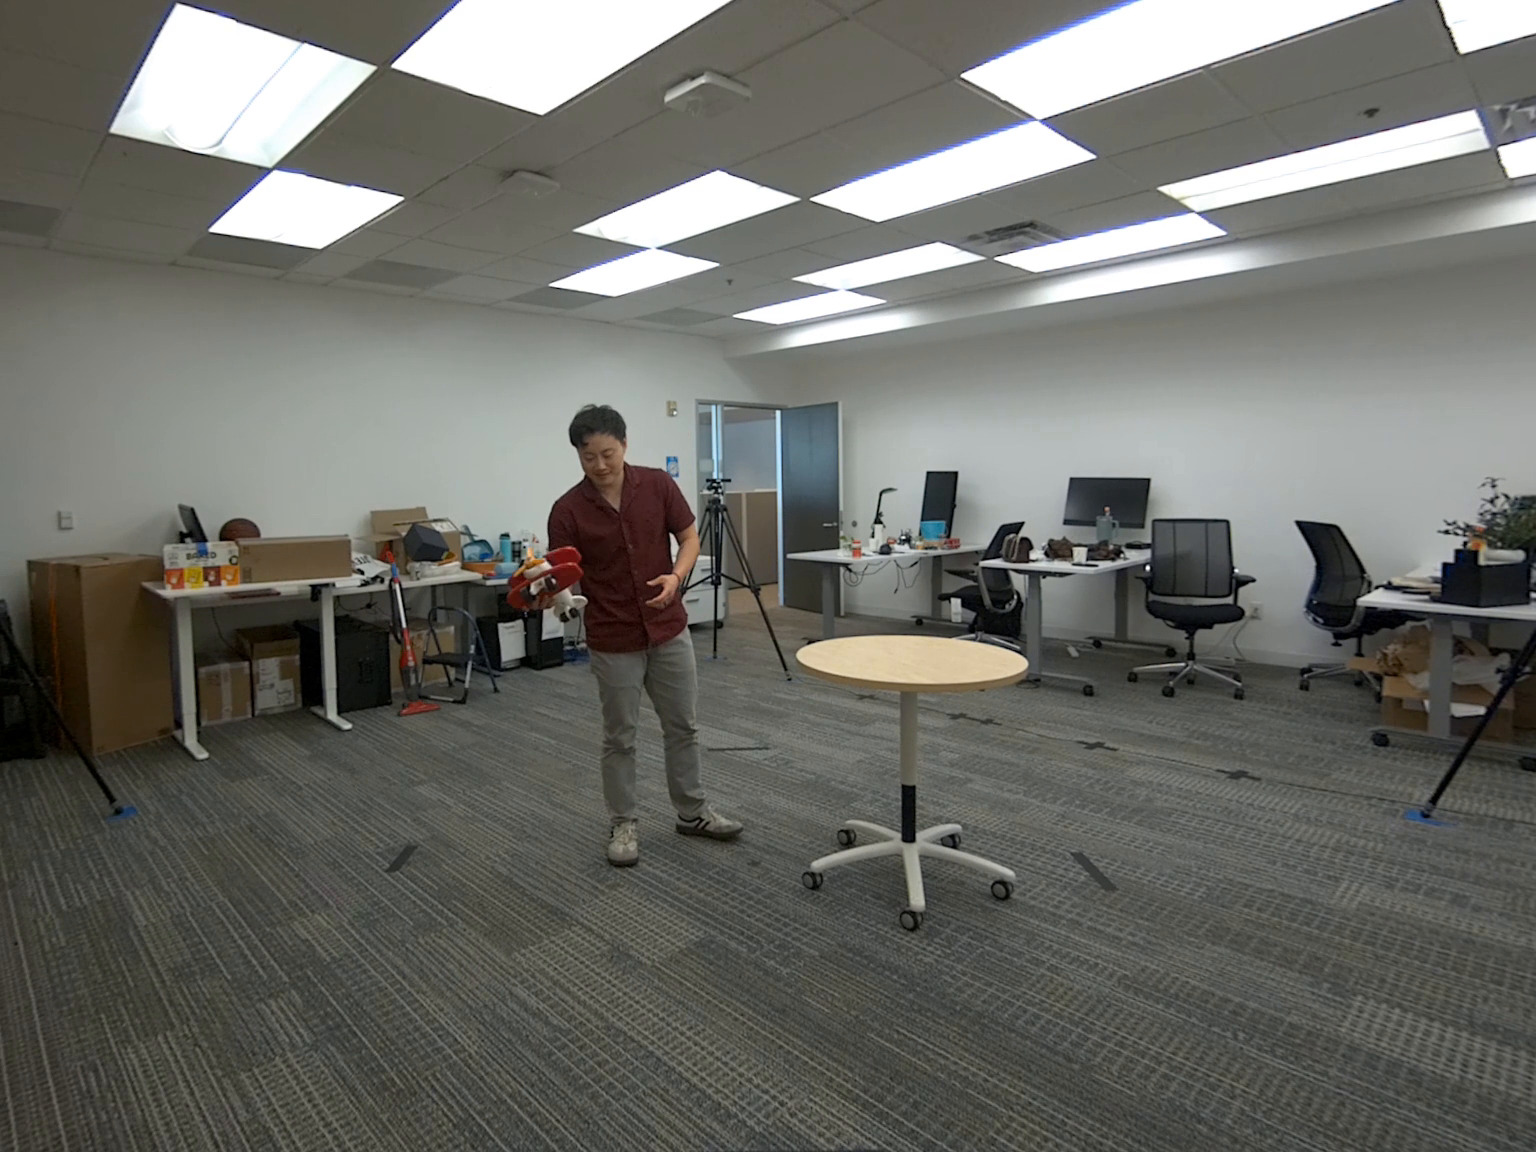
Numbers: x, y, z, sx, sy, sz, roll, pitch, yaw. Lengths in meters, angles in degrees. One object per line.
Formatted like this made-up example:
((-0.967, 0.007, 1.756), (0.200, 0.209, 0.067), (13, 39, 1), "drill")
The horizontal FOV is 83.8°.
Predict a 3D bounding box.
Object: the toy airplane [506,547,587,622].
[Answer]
((-0.708, 0.038, 2.737), (0.248, 0.162, 0.253), (-11, -36, -15), "toy airplane")
